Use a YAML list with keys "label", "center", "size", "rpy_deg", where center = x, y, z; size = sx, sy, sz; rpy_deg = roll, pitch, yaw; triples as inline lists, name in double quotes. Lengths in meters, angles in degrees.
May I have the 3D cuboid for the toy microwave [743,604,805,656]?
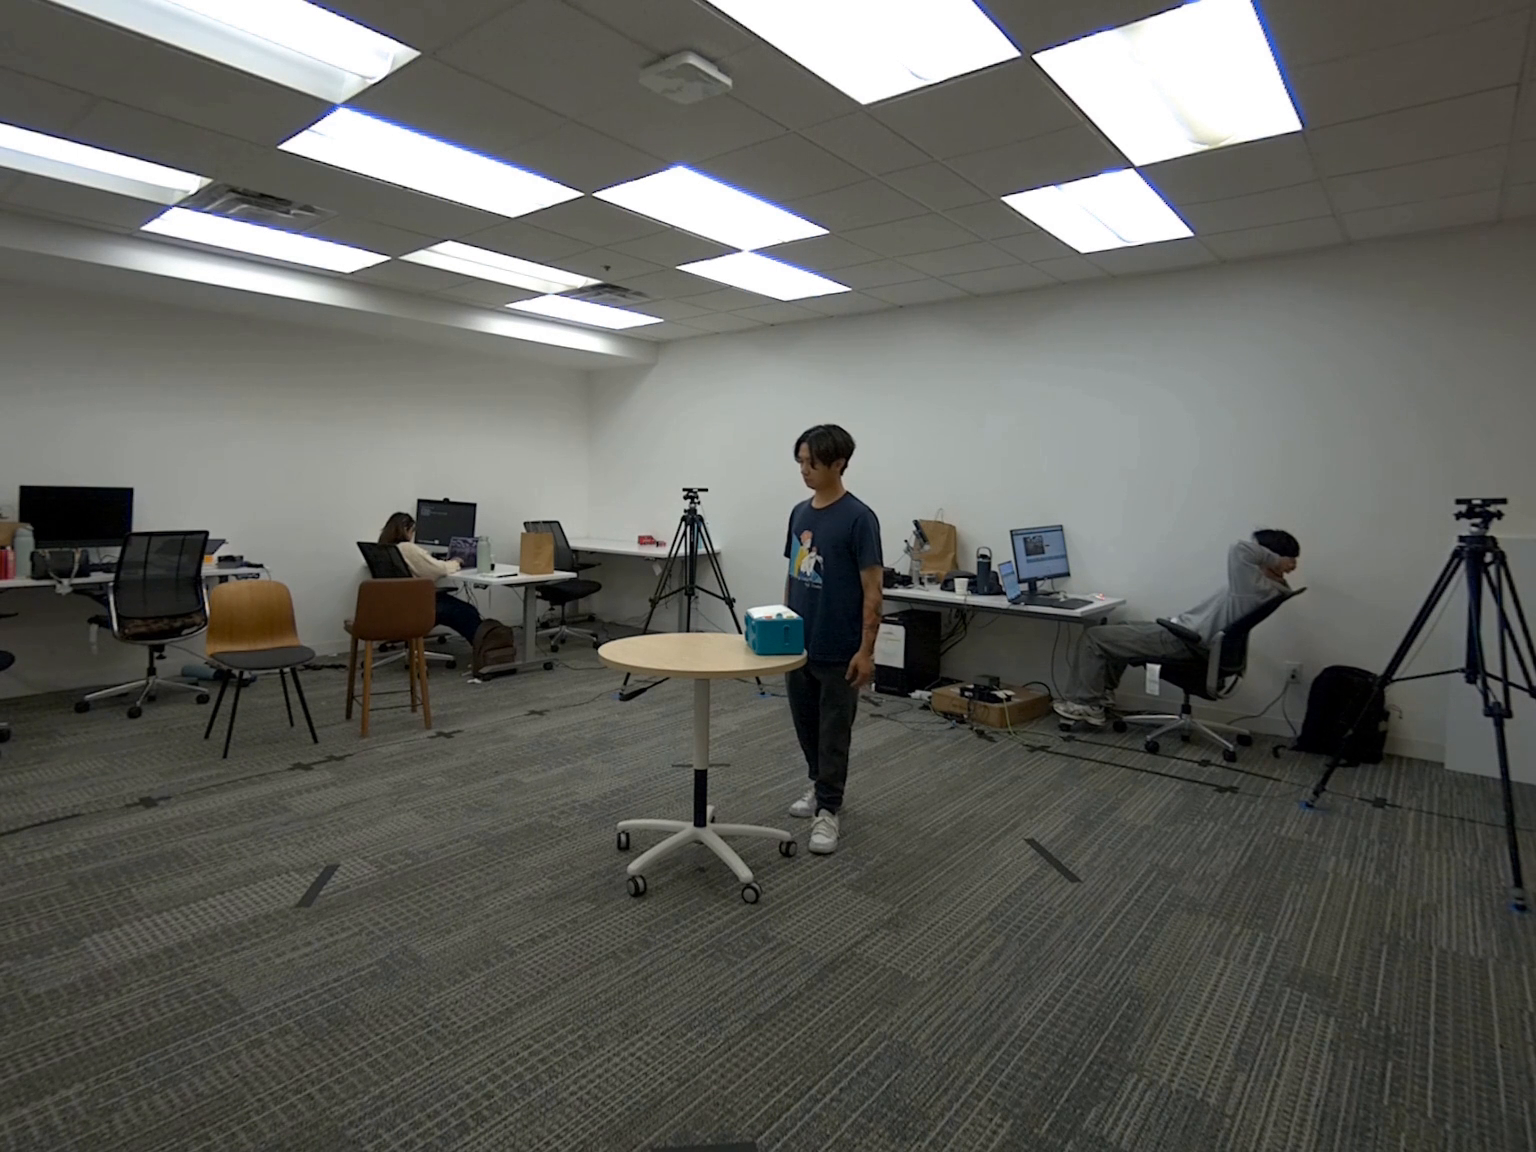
- label: "toy microwave"
  center: [0.003, 0.194, 3.163]
  size: [0.183, 0.152, 0.289]
  rpy_deg: [-2, 4, -7]
